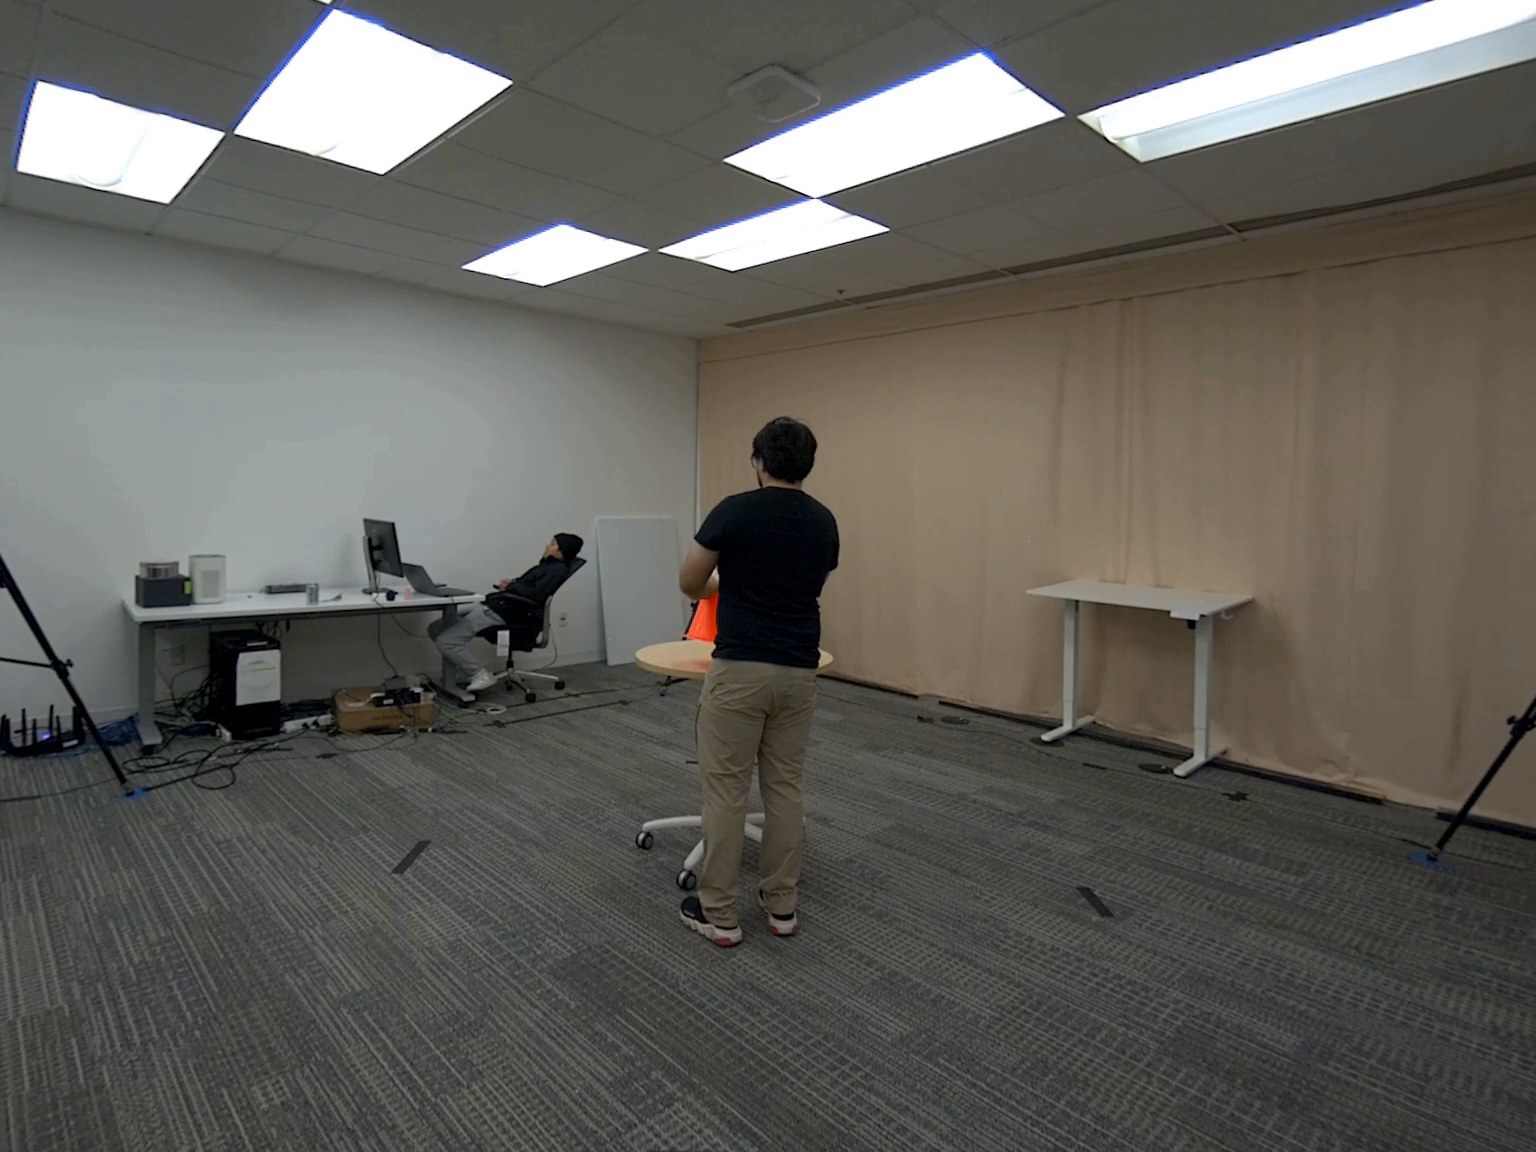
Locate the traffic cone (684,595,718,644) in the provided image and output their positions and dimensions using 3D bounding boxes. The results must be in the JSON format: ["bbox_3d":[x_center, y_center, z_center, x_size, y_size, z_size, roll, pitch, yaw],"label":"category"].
[{"bbox_3d":[-0.189,0.055,3.073,0.201,0.386,0.206,12,-10,-14],"label":"traffic cone"}]
